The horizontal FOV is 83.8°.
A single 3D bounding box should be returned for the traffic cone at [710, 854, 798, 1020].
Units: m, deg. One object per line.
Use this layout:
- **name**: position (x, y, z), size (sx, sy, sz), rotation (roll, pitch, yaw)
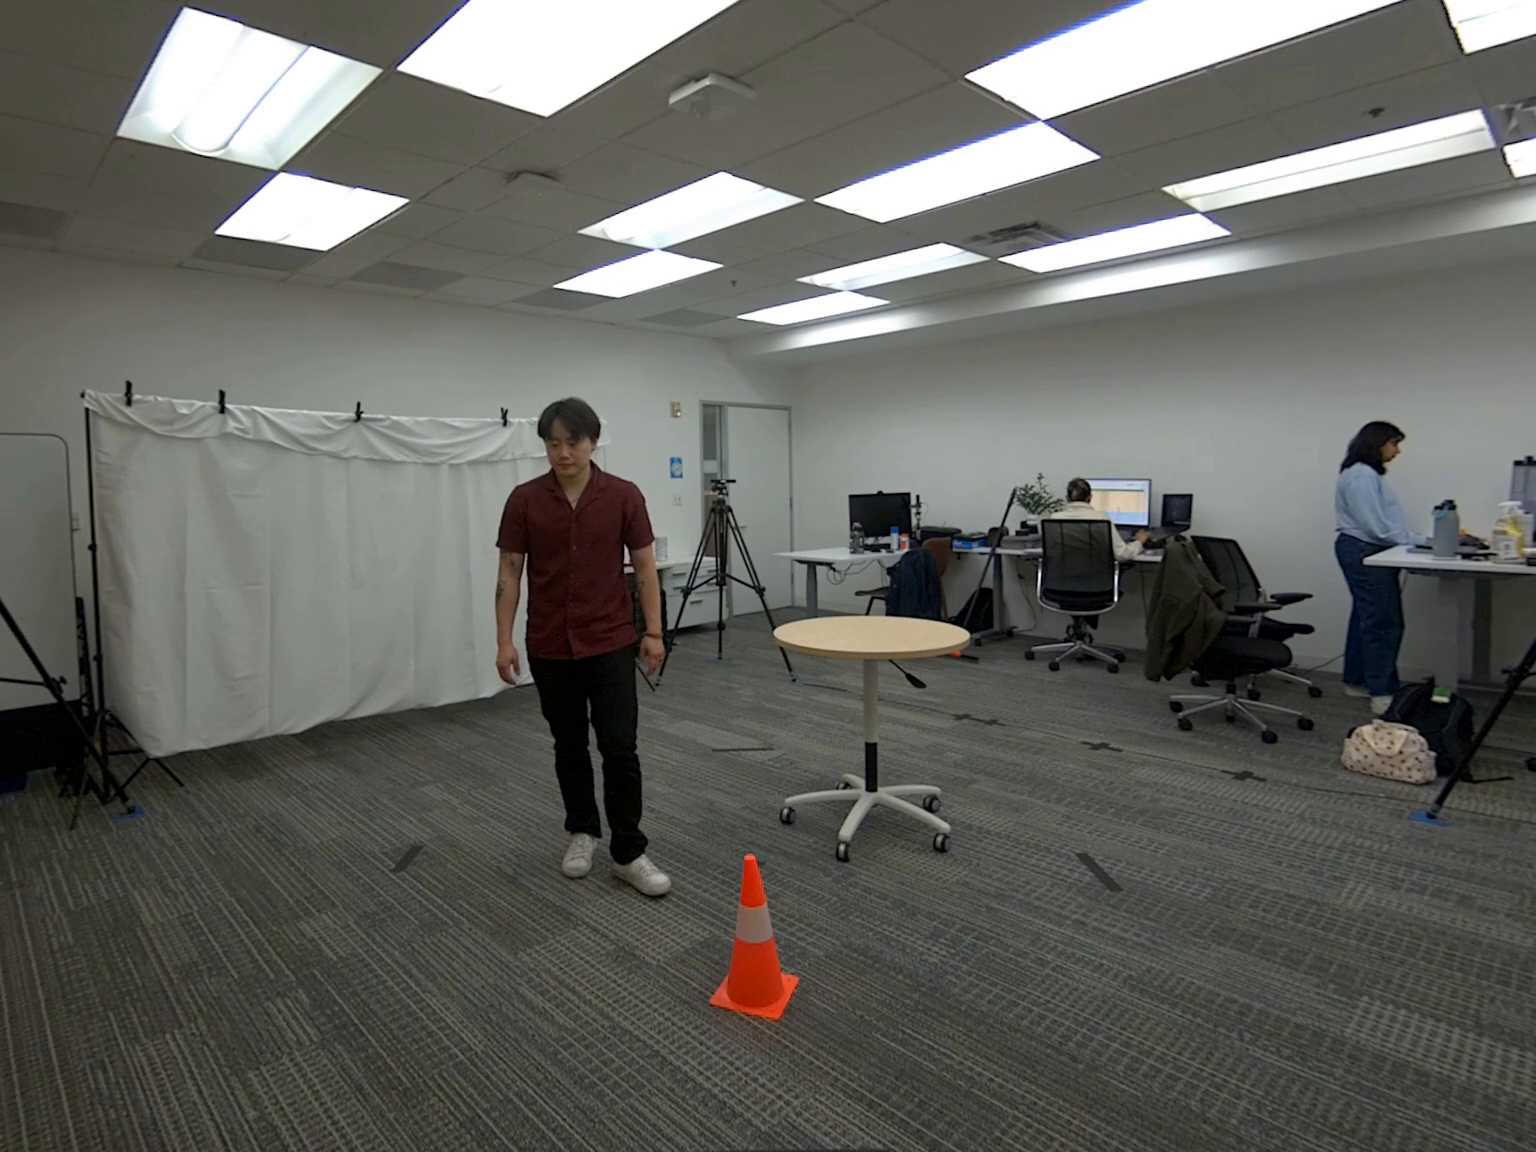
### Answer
- **traffic cone**: position (-0.031, 0.954, 2.316), size (0.209, 0.382, 0.200), rotation (0, 6, 24)
